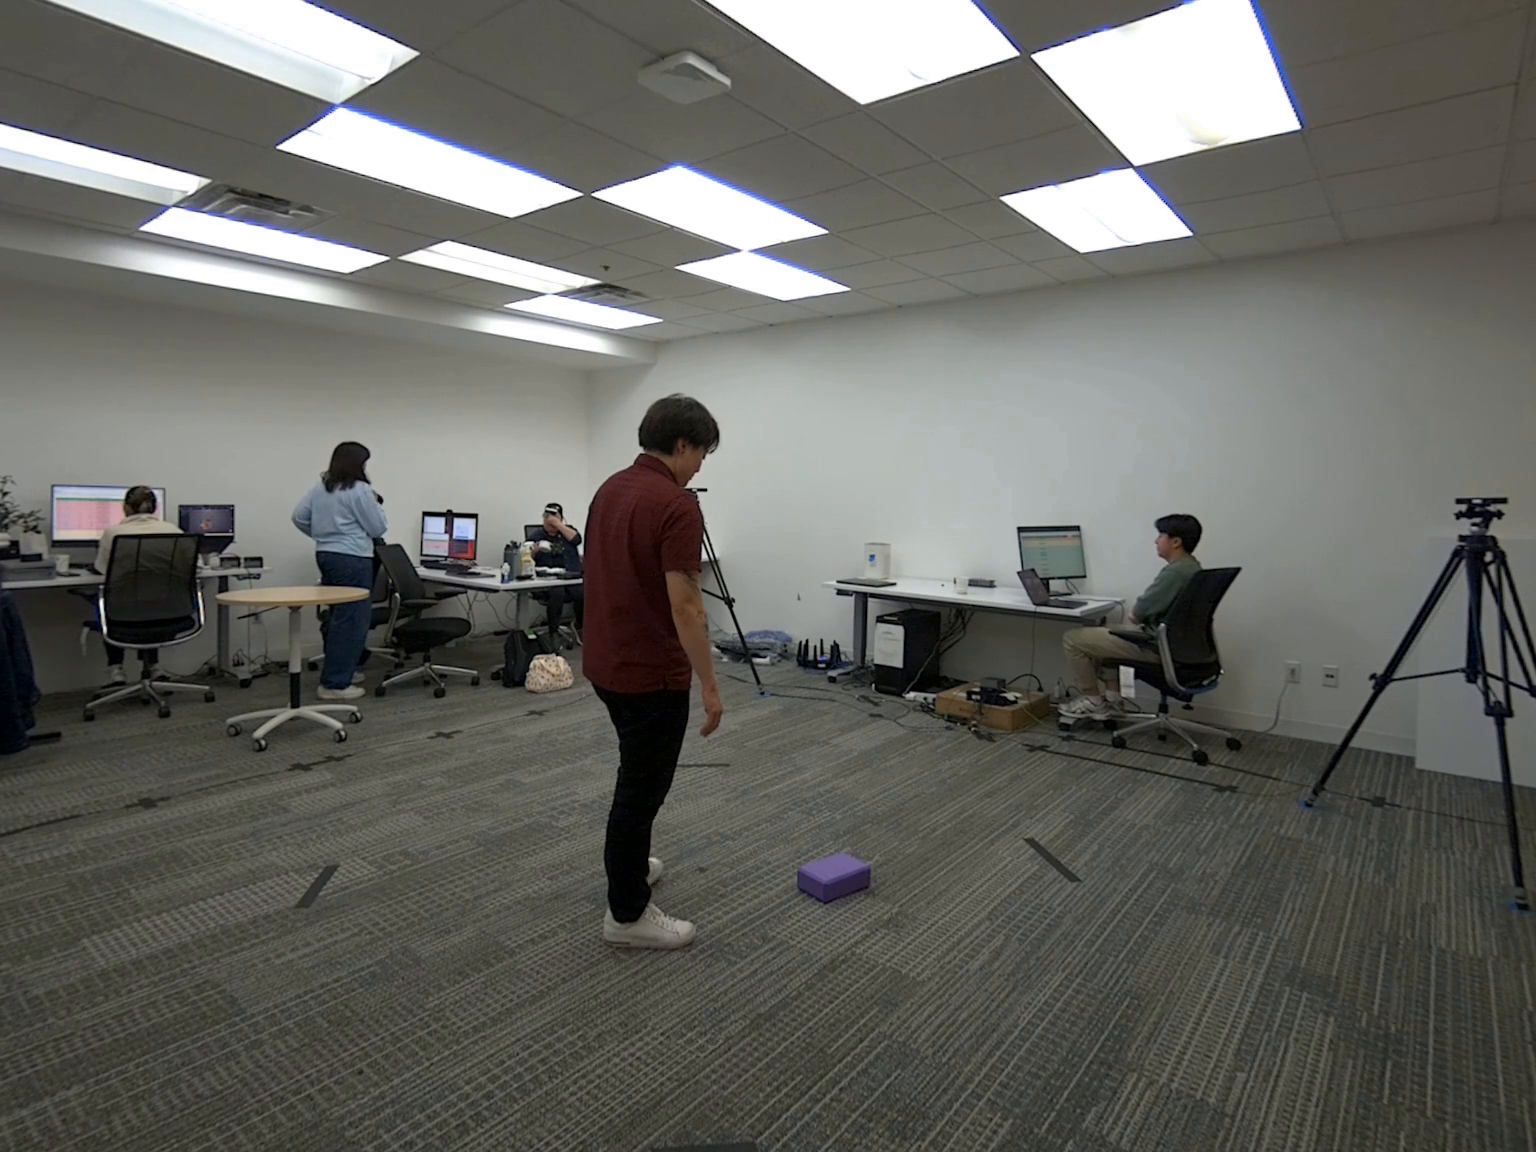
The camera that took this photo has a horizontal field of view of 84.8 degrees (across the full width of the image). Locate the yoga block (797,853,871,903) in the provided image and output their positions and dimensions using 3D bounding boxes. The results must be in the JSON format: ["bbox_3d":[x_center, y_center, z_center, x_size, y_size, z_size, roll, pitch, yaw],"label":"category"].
[{"bbox_3d":[0.227,1.052,2.984,0.222,0.076,0.154,-3,7,-39],"label":"yoga block"}]
